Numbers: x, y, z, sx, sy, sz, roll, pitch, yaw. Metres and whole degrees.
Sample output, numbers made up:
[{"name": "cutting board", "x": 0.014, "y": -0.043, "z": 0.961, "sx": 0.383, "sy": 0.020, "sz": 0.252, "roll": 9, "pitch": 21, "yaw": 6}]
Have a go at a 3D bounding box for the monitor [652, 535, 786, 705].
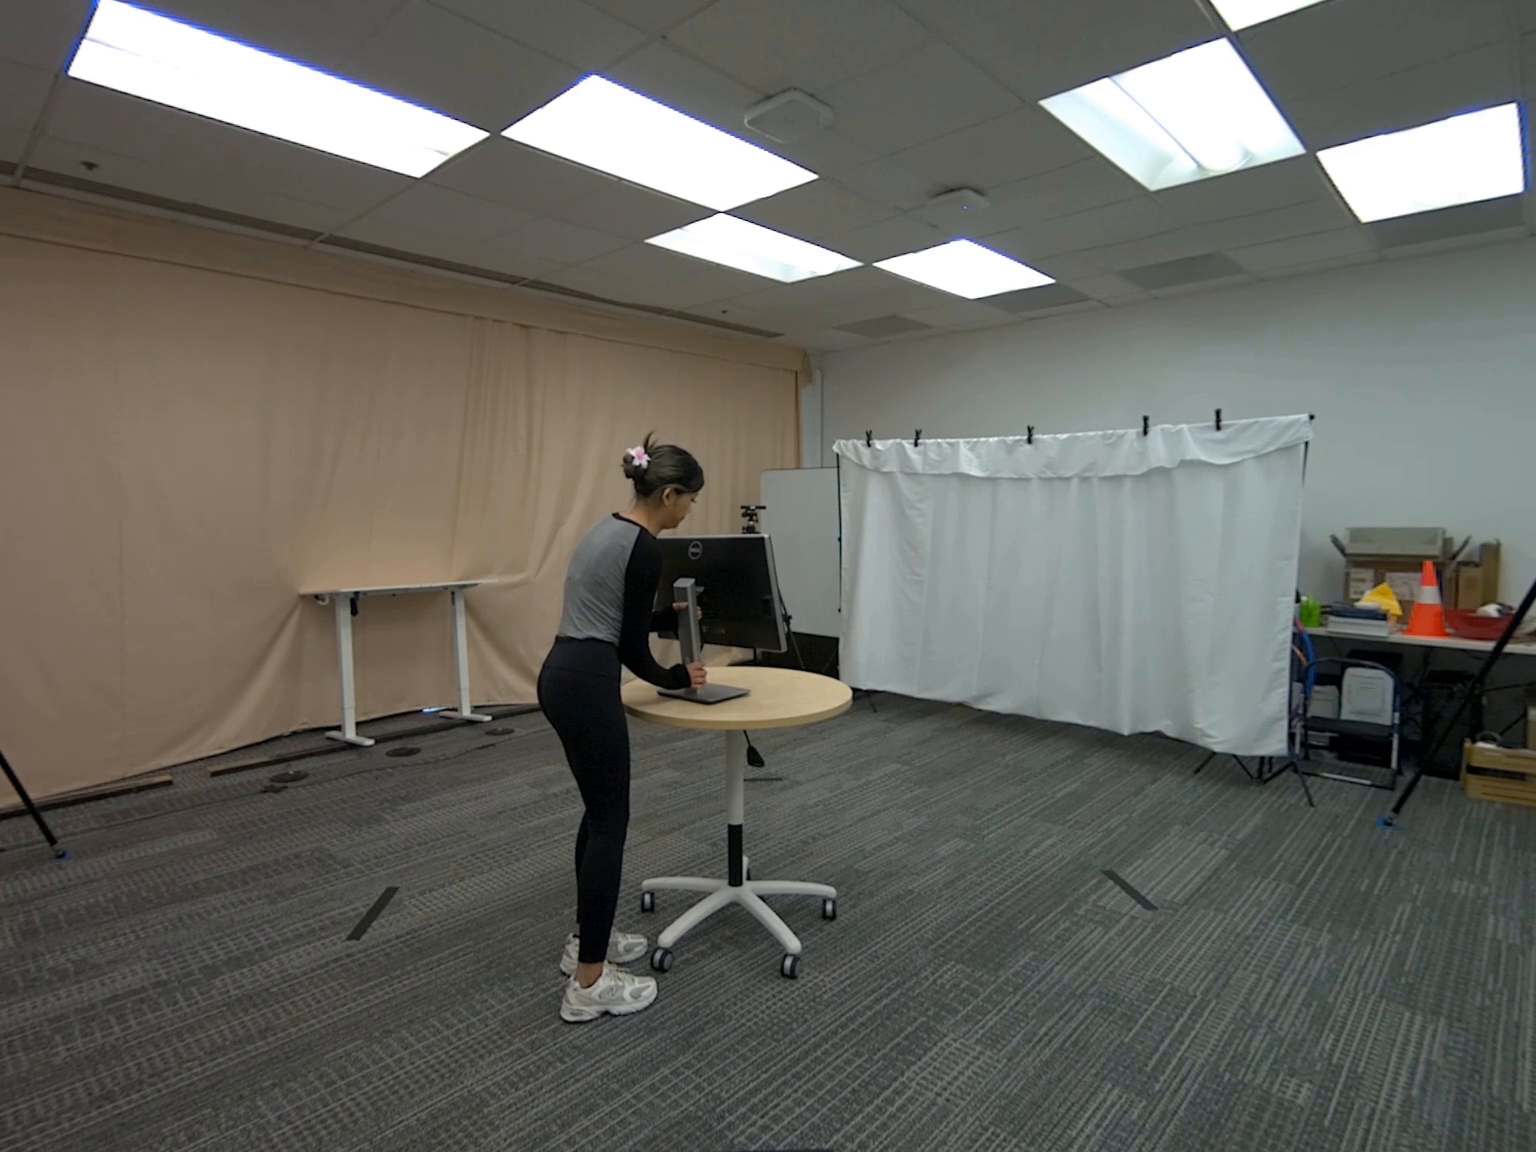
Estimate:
[{"name": "monitor", "x": -0.210, "y": 0.133, "z": 2.677, "sx": 0.556, "sy": 0.522, "sz": 0.181, "roll": 2, "pitch": 2, "yaw": 40}]
